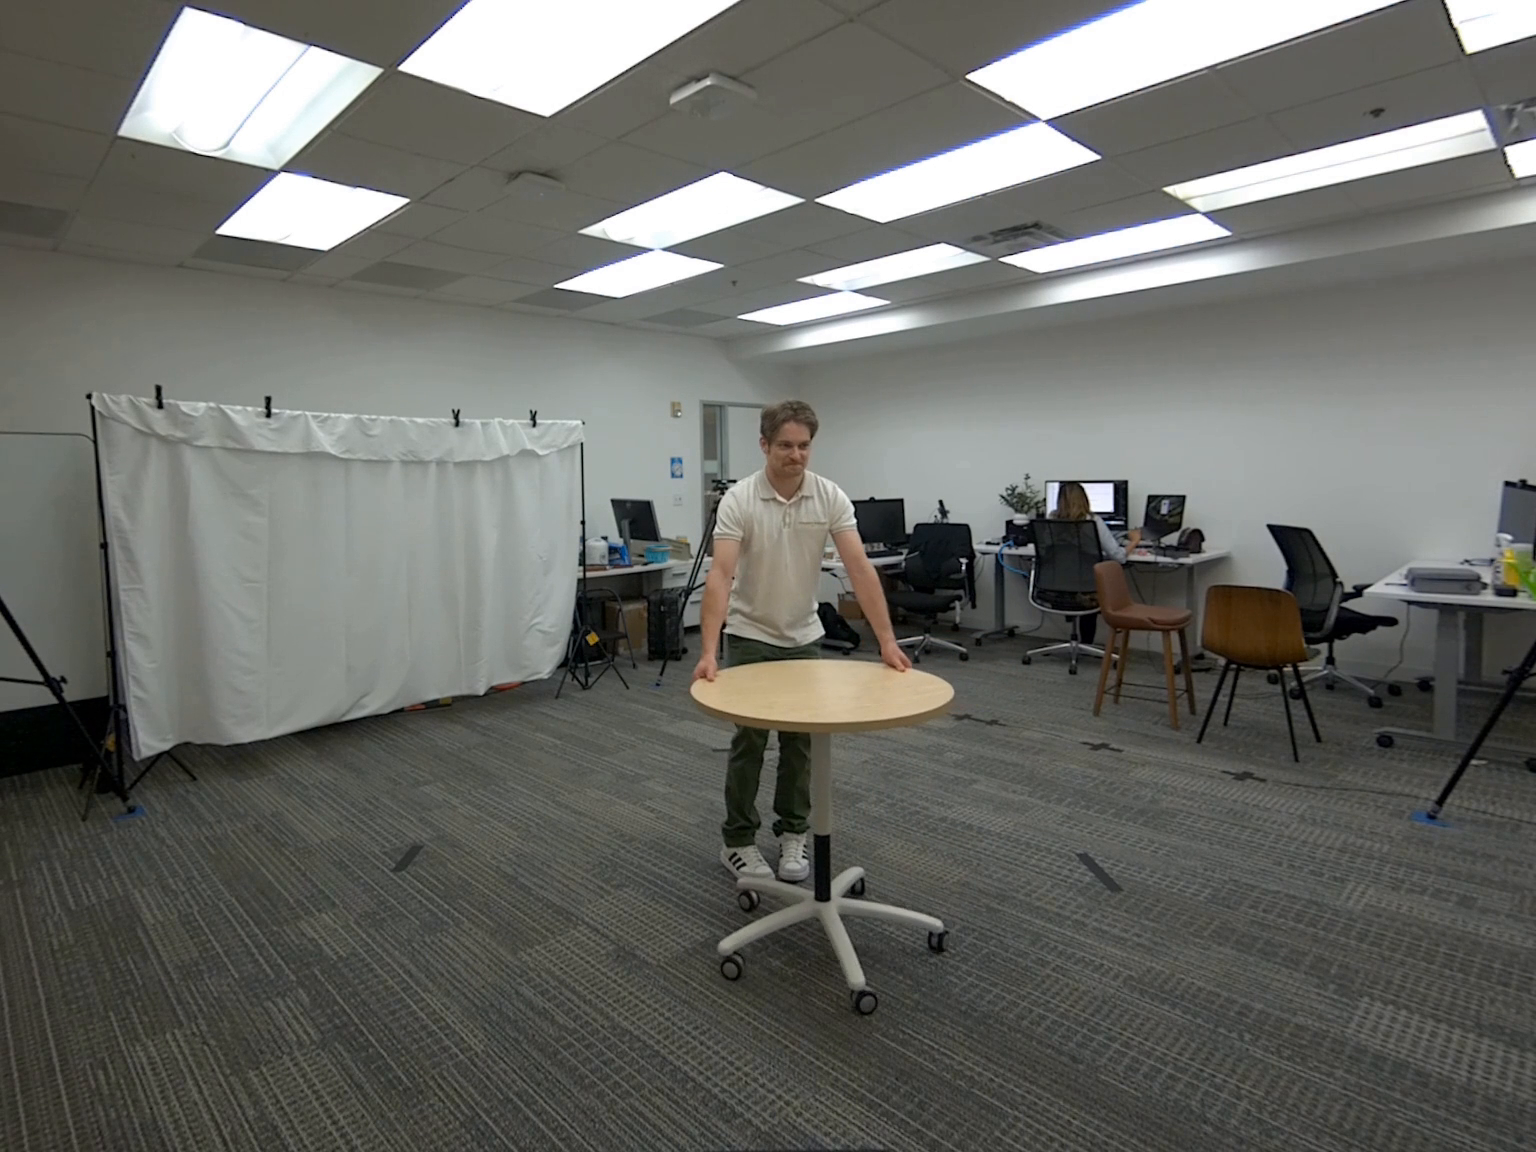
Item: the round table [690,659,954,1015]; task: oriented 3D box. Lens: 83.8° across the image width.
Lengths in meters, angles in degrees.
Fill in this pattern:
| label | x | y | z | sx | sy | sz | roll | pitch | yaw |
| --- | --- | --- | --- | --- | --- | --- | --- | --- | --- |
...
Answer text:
| label | x | y | z | sx | sy | sz | roll | pitch | yaw |
| --- | --- | --- | --- | --- | --- | --- | --- | --- | --- |
| round table | 0.160 | 0.719 | 2.549 | 0.763 | 0.791 | 0.768 | -1 | 5 | -2 |
